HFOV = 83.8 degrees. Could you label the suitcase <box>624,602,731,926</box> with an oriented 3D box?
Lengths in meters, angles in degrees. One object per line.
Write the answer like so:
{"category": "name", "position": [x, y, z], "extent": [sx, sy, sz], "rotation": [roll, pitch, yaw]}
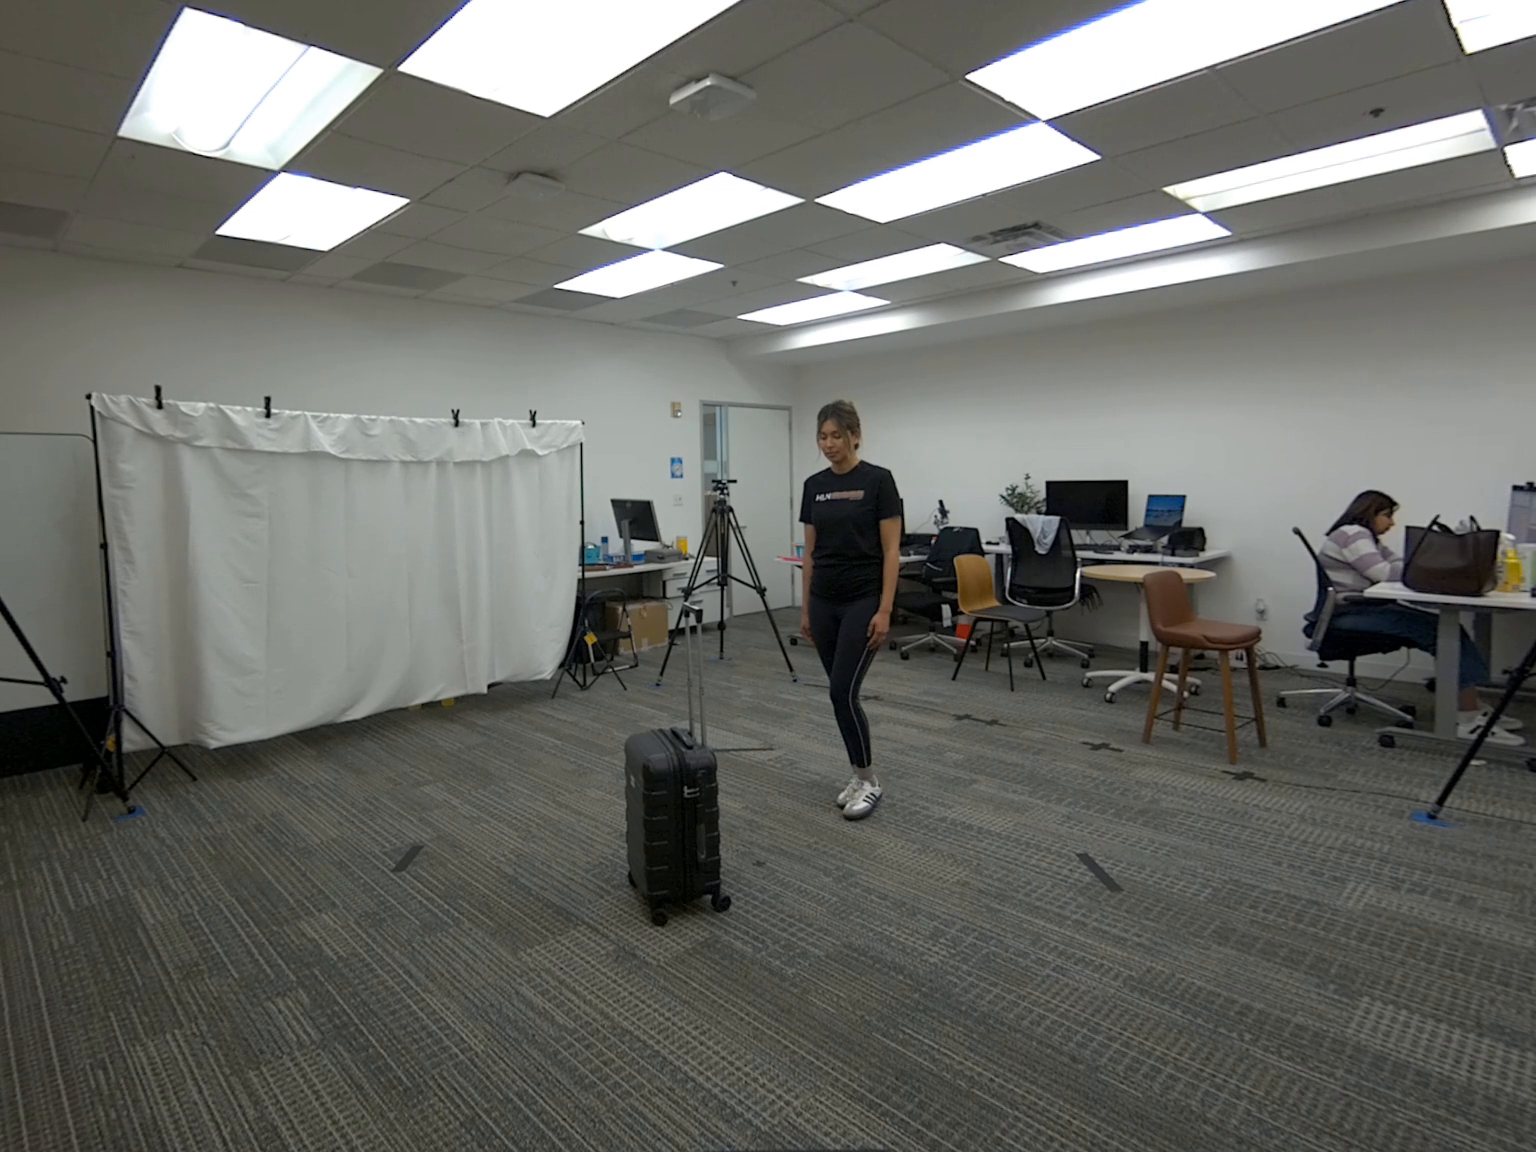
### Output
{"category": "suitcase", "position": [-0.334, 0.602, 2.843], "extent": [0.253, 0.974, 0.391], "rotation": [-5, 5, -18]}
